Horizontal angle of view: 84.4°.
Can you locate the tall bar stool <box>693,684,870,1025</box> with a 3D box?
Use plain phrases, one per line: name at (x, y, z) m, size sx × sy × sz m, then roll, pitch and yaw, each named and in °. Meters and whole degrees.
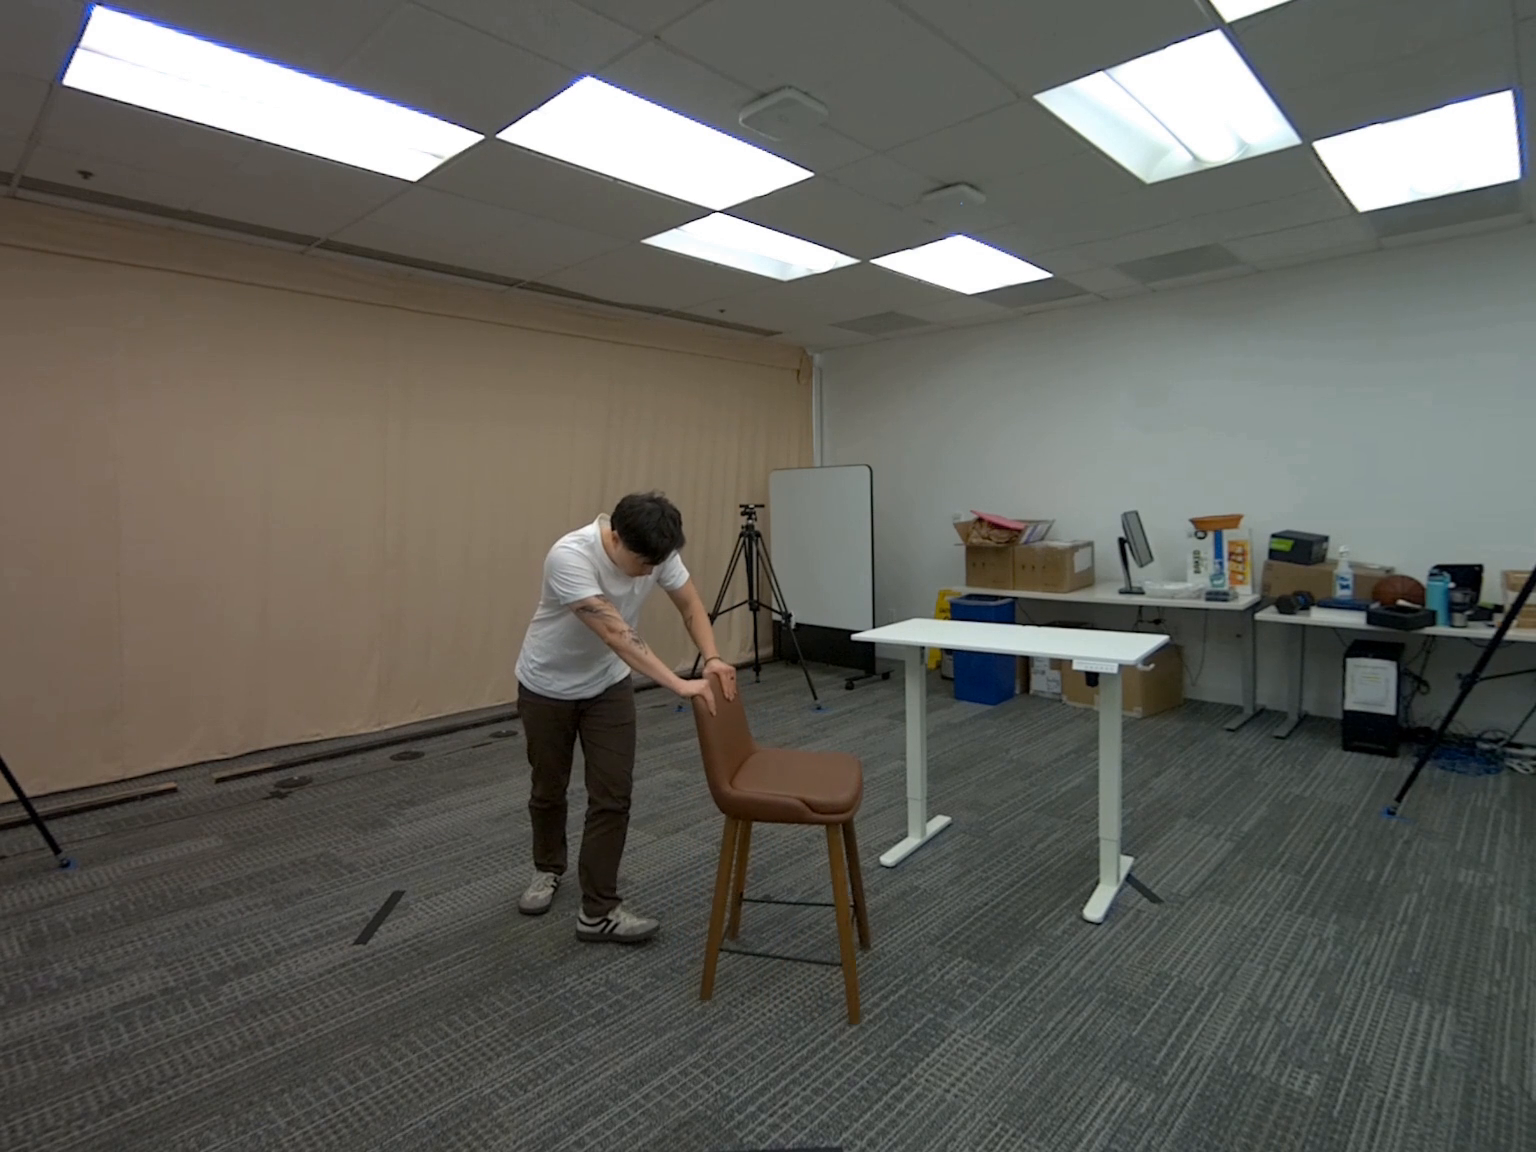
tall bar stool at (0.053, 0.748, 2.470) m, size 0.475 × 0.888 × 0.450 m, roll -2°, pitch 3°, yaw 14°
